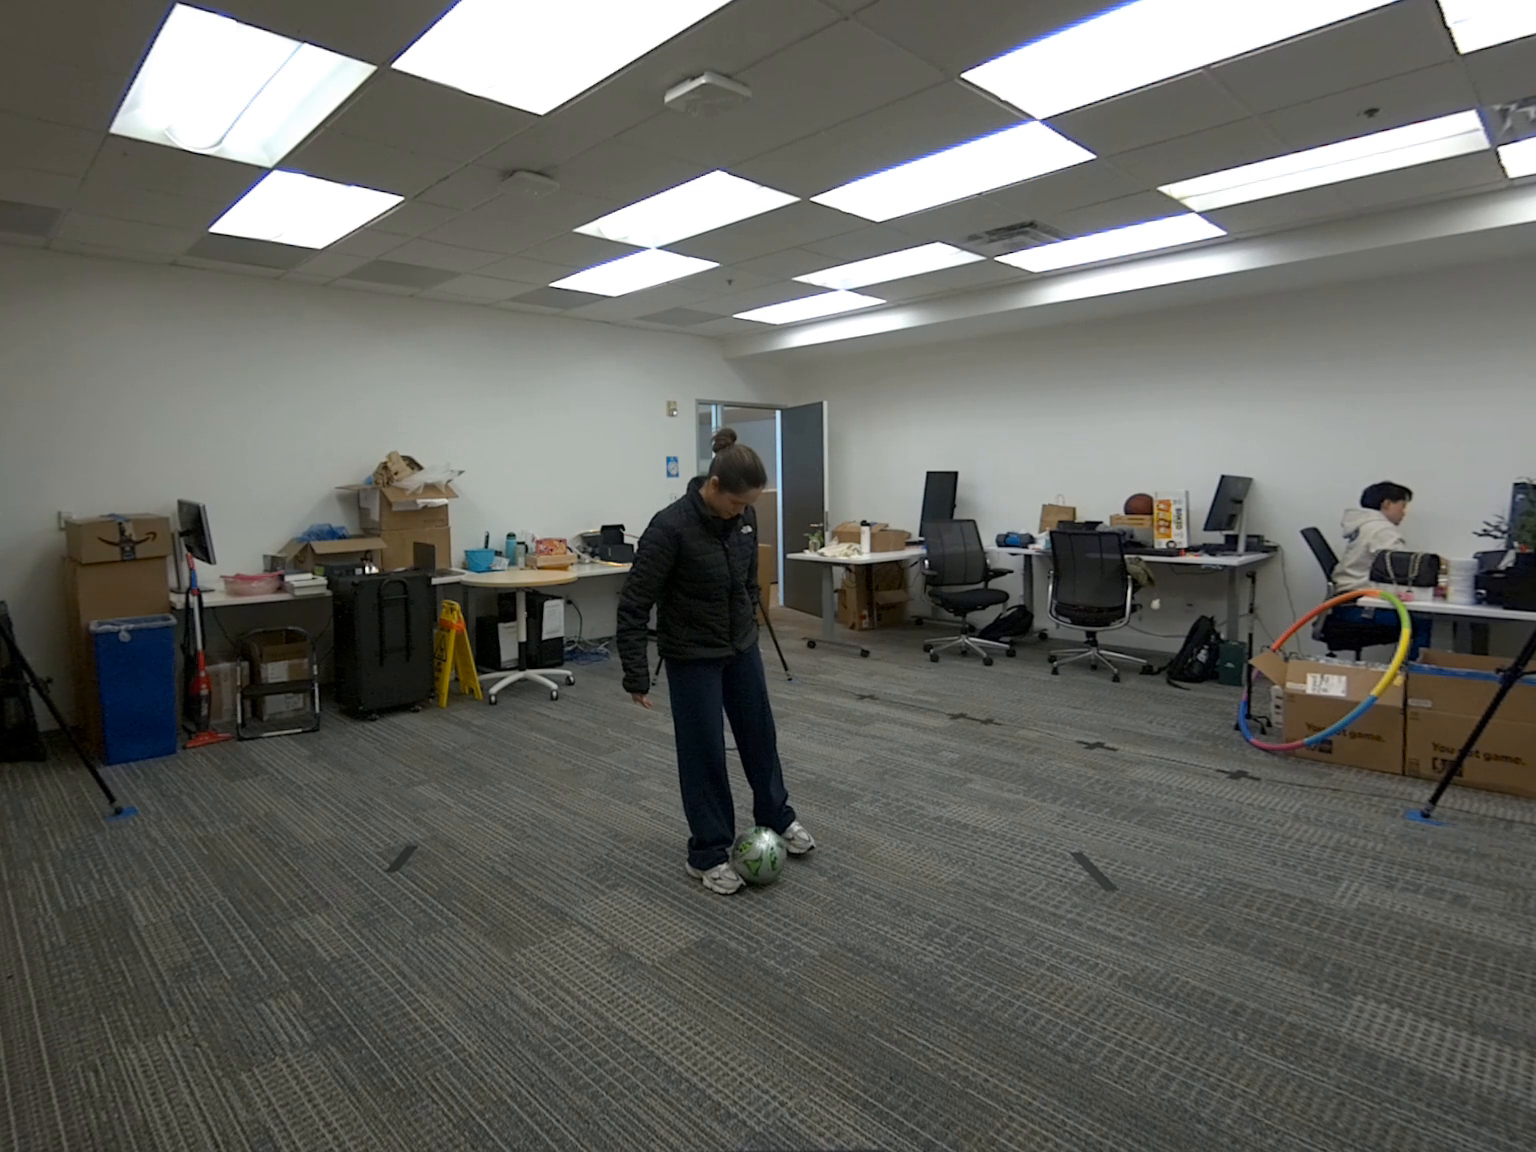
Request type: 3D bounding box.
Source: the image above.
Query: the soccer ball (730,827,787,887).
[{"bbox_3d":[-0.029,0.967,2.961,0.187,0.187,0.188,-1,5,-2],"label":"soccer ball"}]
